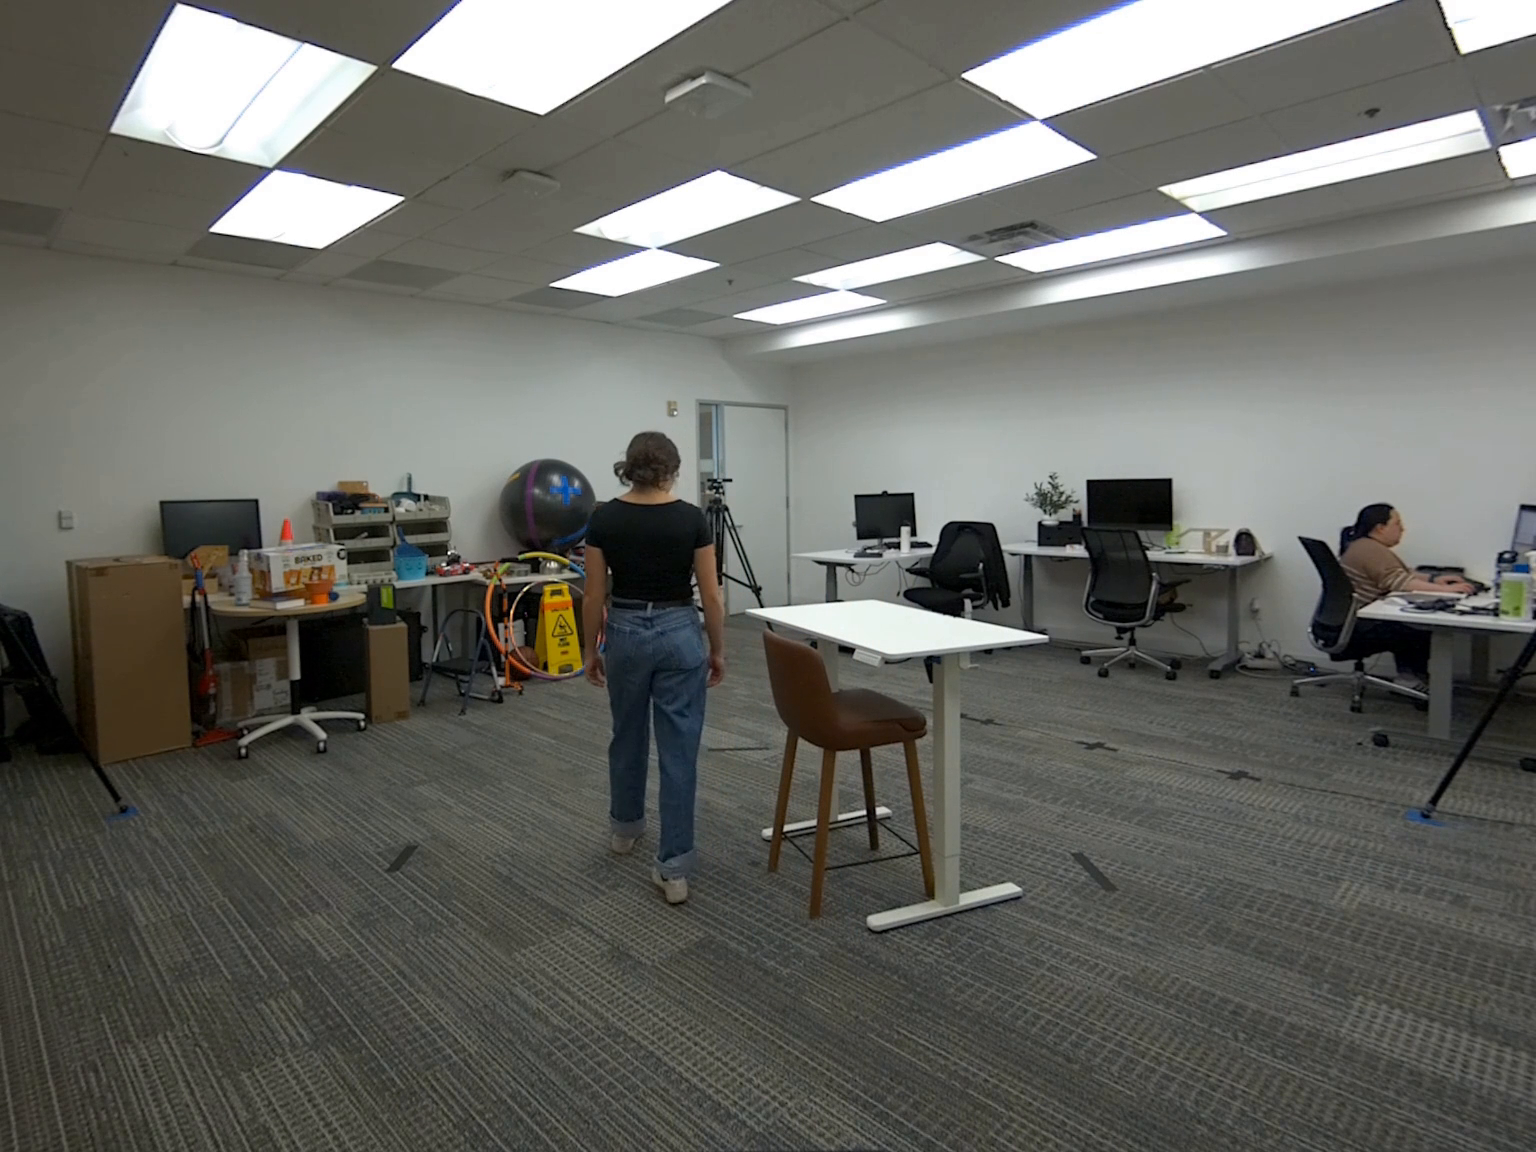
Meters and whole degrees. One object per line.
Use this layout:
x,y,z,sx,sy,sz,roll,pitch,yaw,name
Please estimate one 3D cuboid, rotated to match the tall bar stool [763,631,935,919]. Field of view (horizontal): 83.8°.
0.262,0.627,2.923,0.459,0.886,0.467,-5,5,-21,tall bar stool
